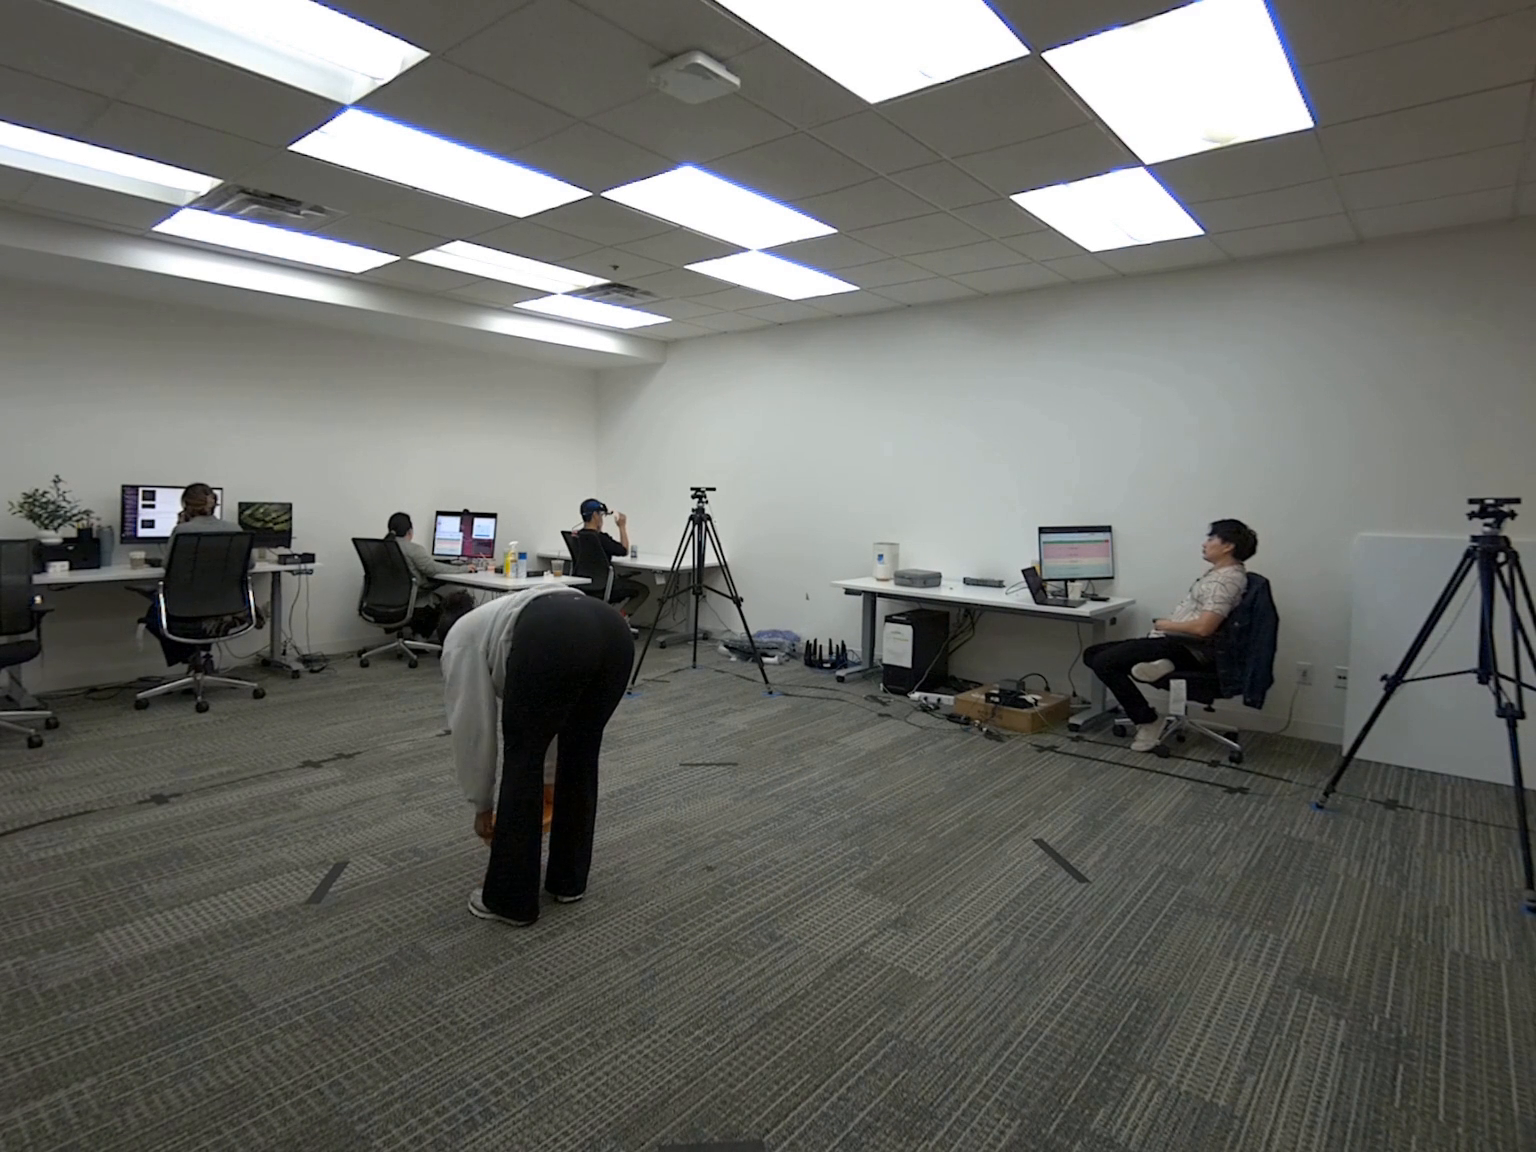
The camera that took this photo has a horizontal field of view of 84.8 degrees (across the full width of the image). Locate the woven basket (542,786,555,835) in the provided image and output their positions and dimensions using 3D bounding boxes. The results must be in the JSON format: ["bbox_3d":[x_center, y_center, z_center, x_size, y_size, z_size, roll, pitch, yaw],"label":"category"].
[{"bbox_3d":[-0.903,0.876,3.020,0.257,0.073,0.344,-2,1,17],"label":"woven basket"}]
